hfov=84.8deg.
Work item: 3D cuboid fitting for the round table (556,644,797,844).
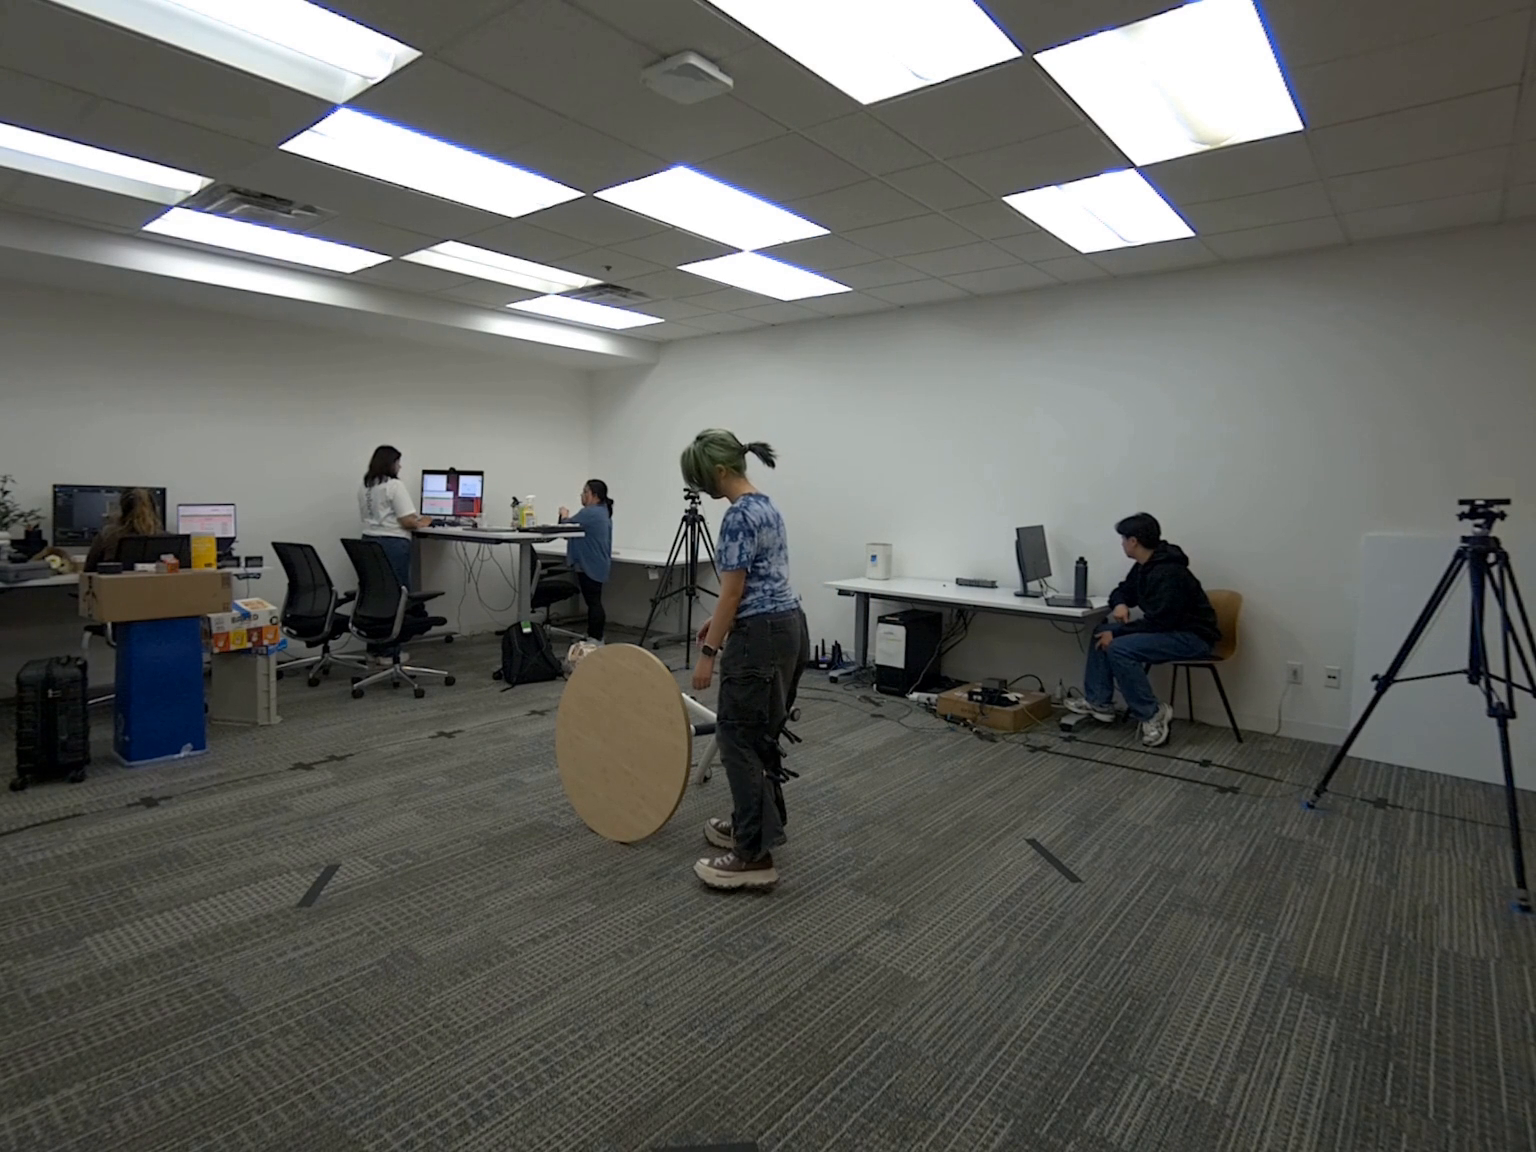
[{"bbox_3d":[-0.381,0.670,3.682,0.789,0.765,0.767,4,-1,39],"label":"round table"}]
